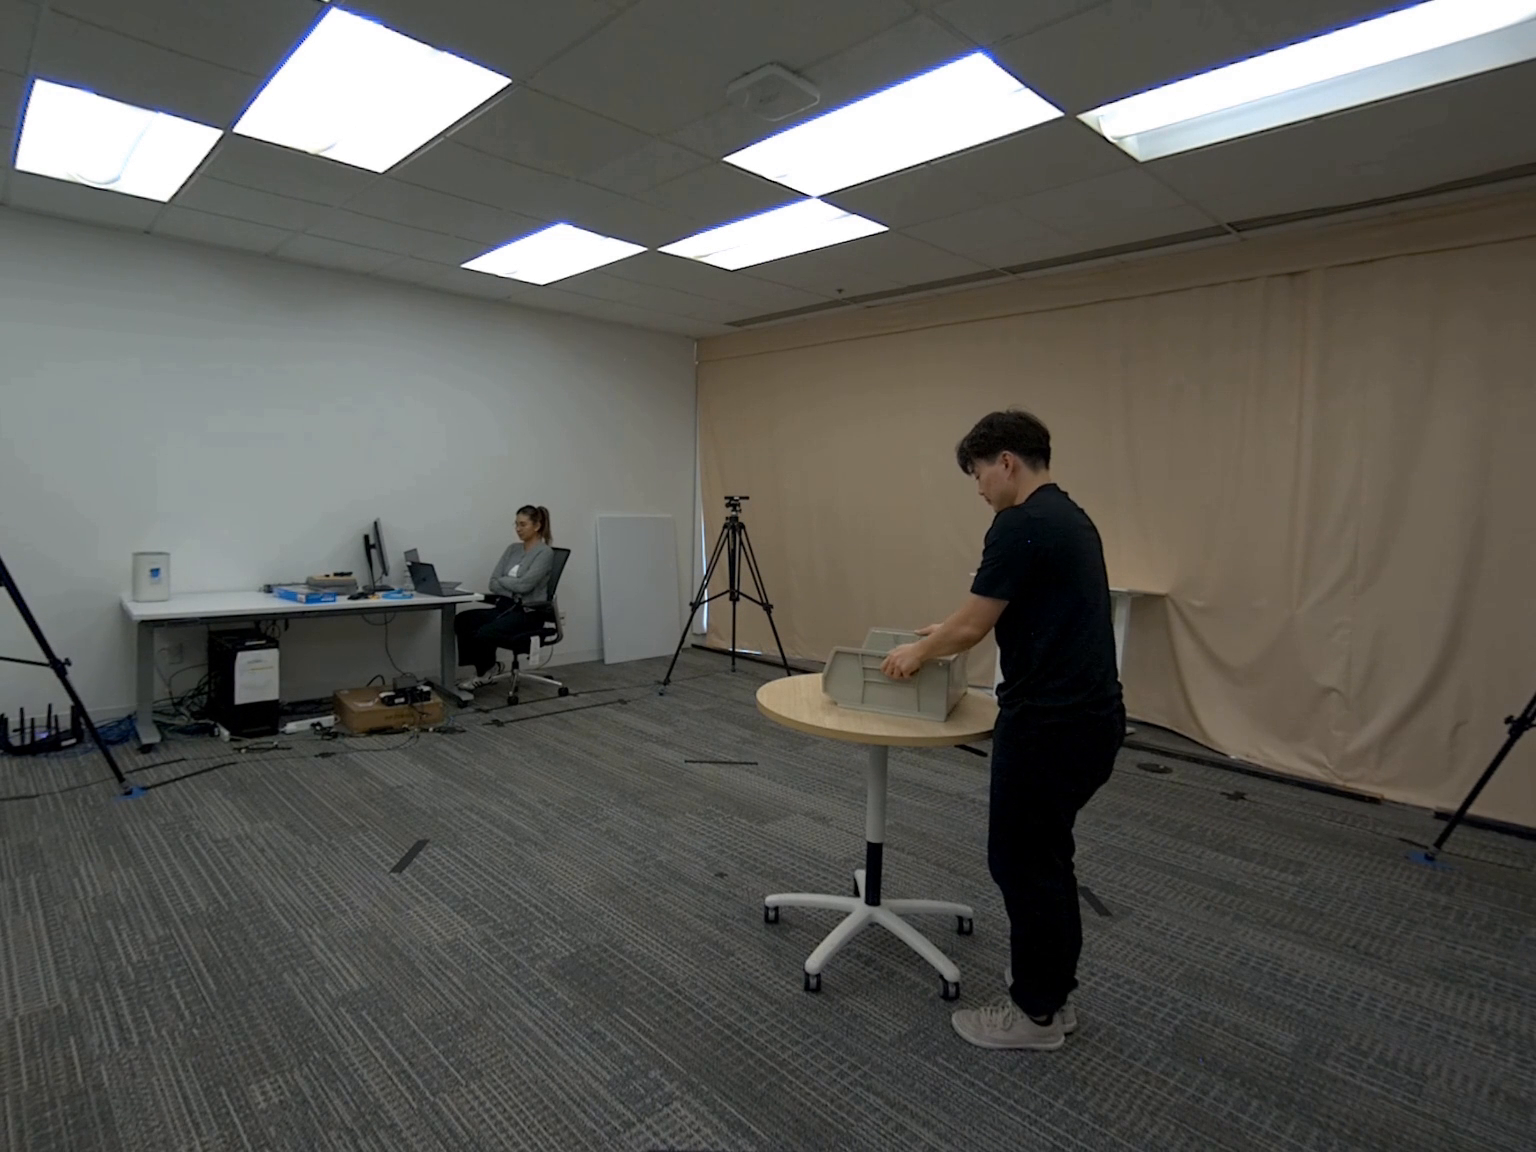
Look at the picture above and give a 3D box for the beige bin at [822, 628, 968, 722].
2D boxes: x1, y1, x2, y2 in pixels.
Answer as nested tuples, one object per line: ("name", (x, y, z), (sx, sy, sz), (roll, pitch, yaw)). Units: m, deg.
("beige bin", (0.406, 0.294, 2.605), (0.384, 0.188, 0.416), (5, 6, 23))
